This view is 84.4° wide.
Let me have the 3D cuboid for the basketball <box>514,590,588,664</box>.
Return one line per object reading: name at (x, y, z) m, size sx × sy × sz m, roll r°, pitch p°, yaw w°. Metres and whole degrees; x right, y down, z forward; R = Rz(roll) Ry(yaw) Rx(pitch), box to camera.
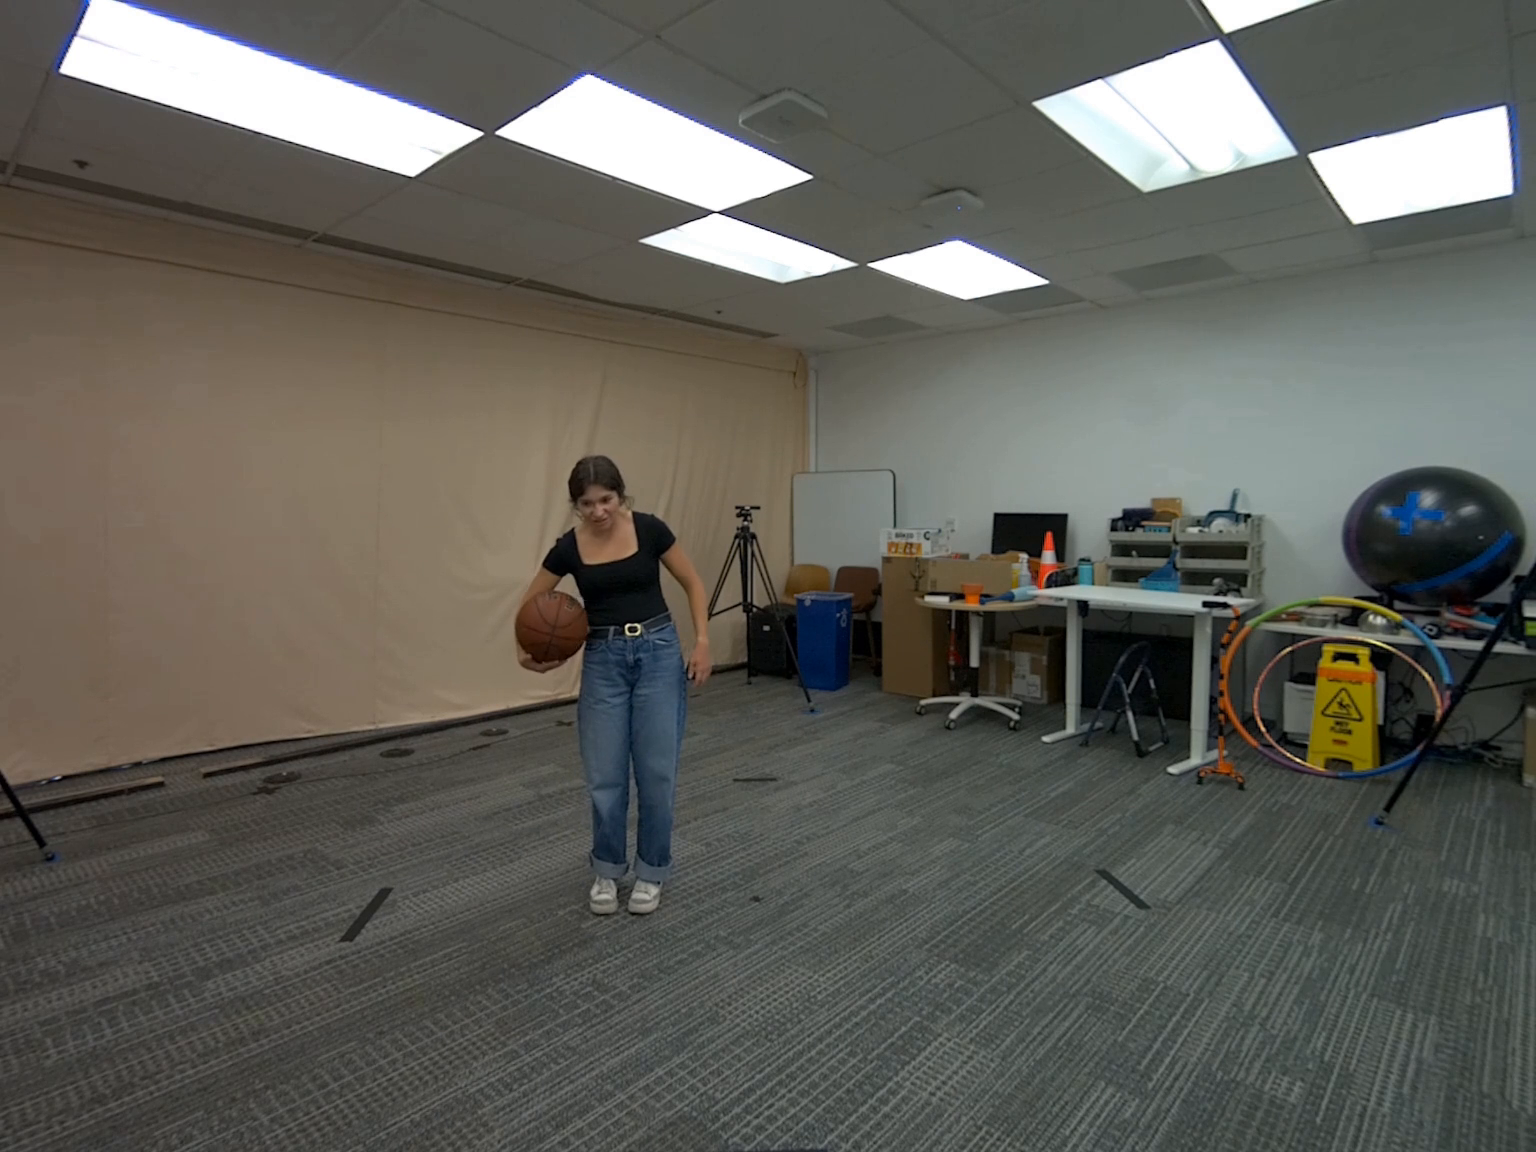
basketball at (-0.706, 0.159, 2.787) m, size 0.236 × 0.235 × 0.237 m, roll 0°, pitch 4°, yaw -2°
